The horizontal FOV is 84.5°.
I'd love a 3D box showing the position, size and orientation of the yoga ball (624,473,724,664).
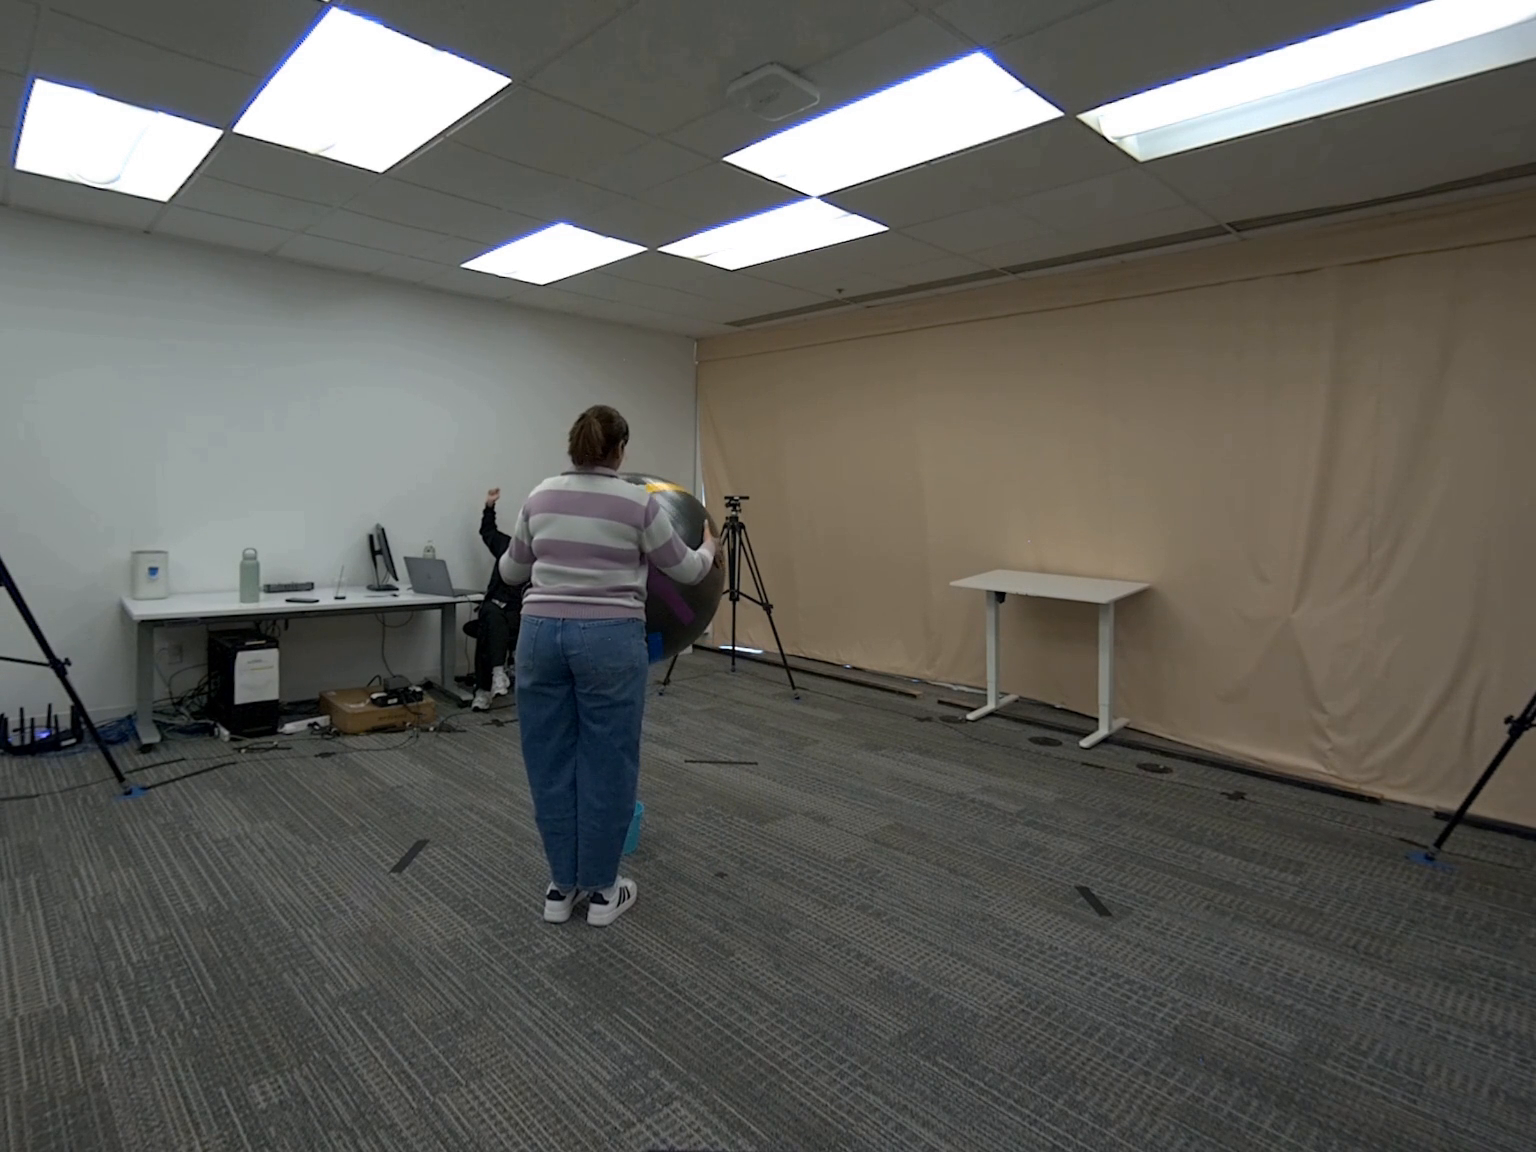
[{"bbox_3d":[-0.547,-0.023,3.311,0.757,0.756,0.761,1,4,-1],"label":"yoga ball"}]
